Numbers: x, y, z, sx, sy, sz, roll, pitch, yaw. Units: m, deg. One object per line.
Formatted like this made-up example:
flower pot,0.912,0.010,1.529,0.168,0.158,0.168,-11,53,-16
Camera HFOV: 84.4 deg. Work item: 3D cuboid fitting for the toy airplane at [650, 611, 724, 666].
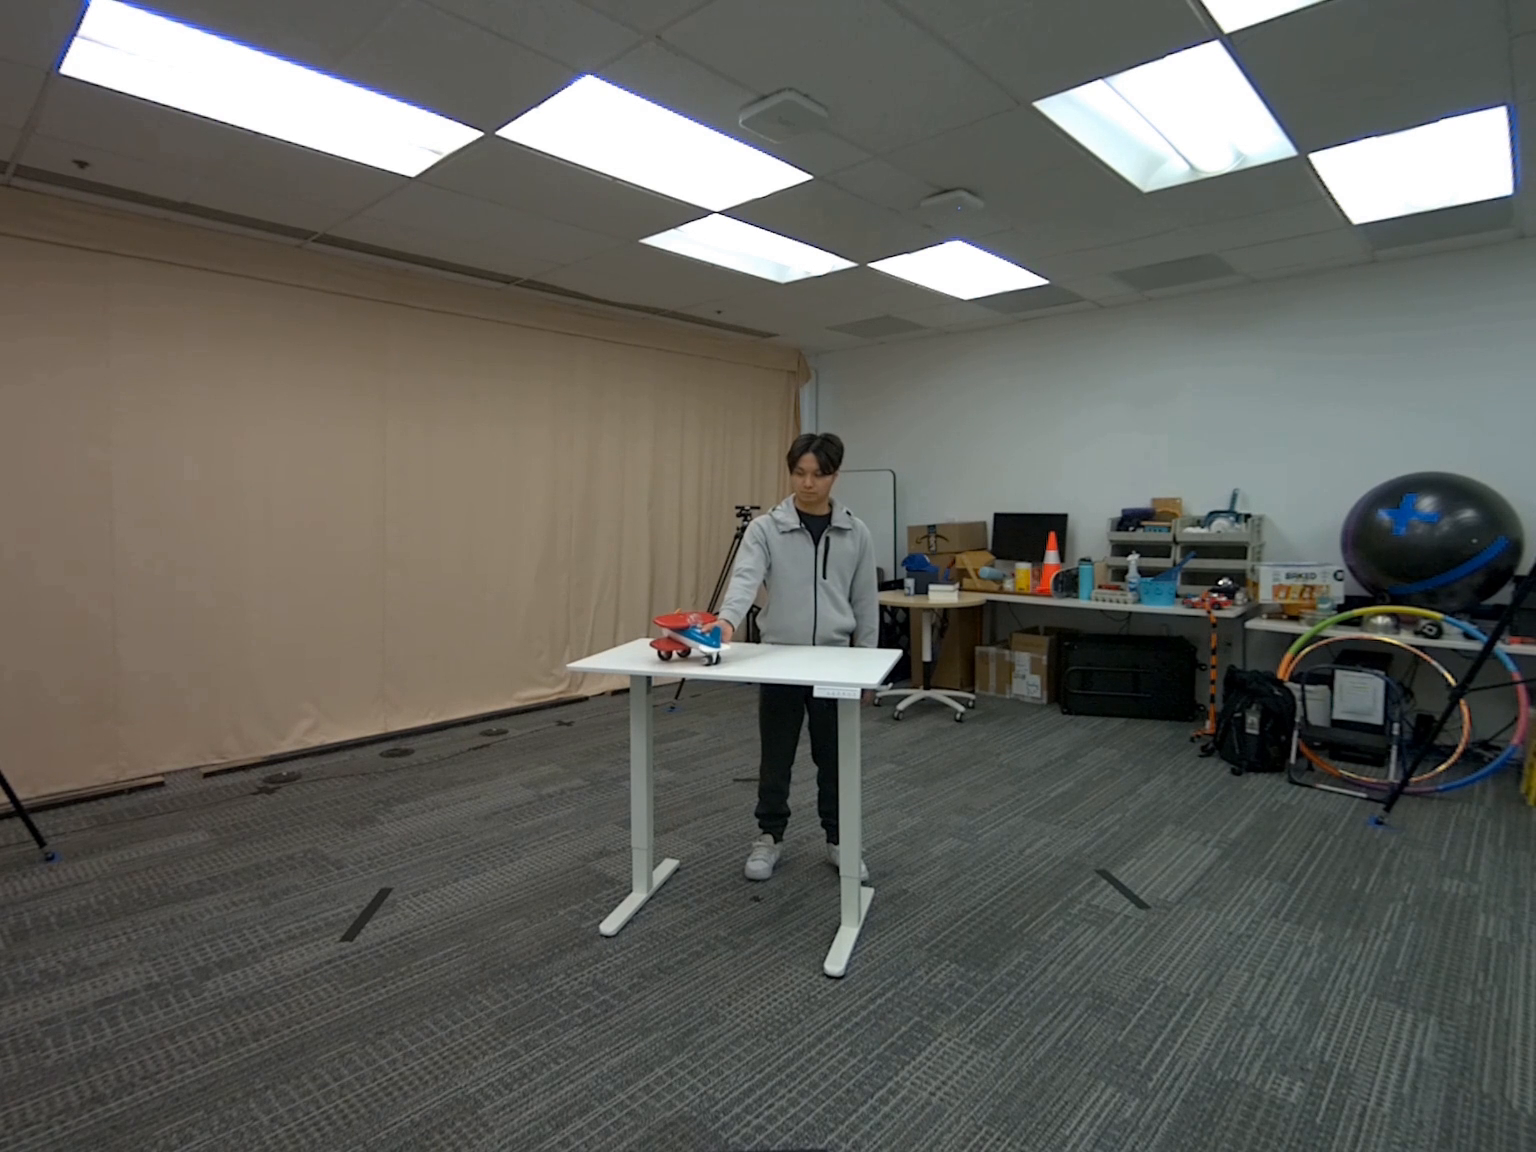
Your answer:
toy airplane,-0.237,0.204,2.776,0.263,0.156,0.247,0,4,15
